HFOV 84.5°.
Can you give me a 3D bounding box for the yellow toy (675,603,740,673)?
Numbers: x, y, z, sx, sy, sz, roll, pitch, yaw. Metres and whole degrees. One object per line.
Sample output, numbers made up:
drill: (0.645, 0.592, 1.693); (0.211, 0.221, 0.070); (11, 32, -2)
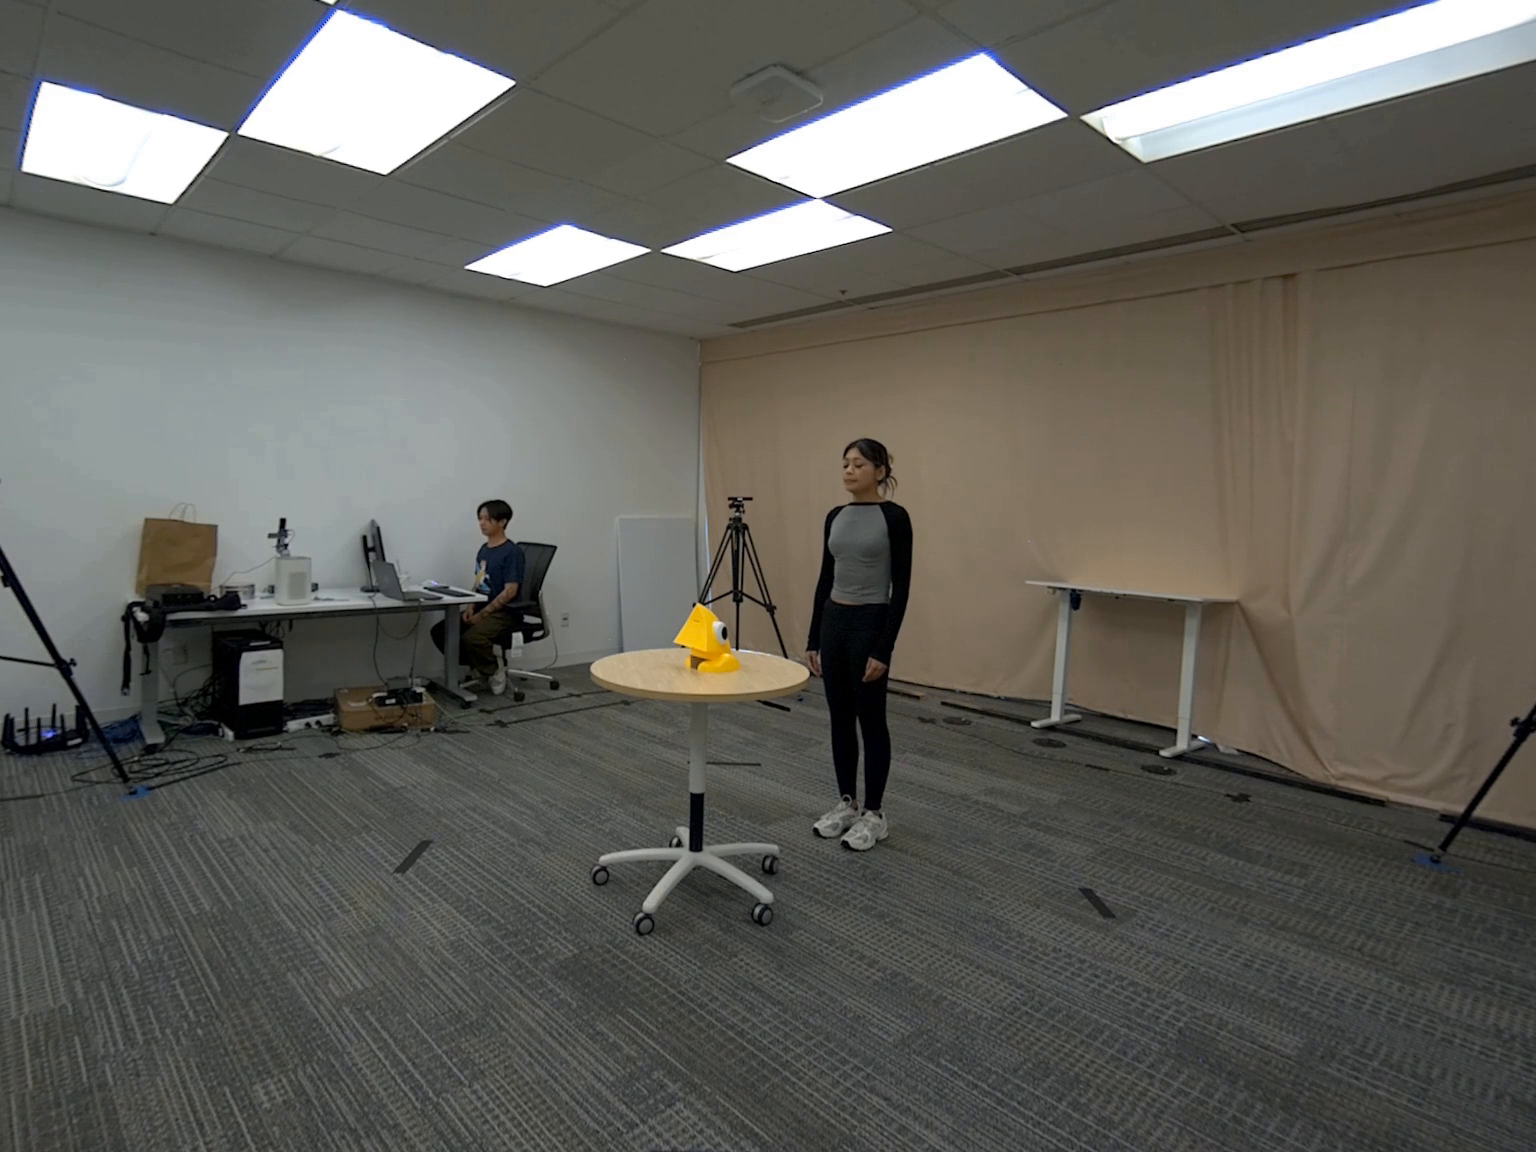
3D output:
yellow toy: (-0.206, 0.211, 2.982); (0.189, 0.230, 0.210); (-1, 5, -38)
